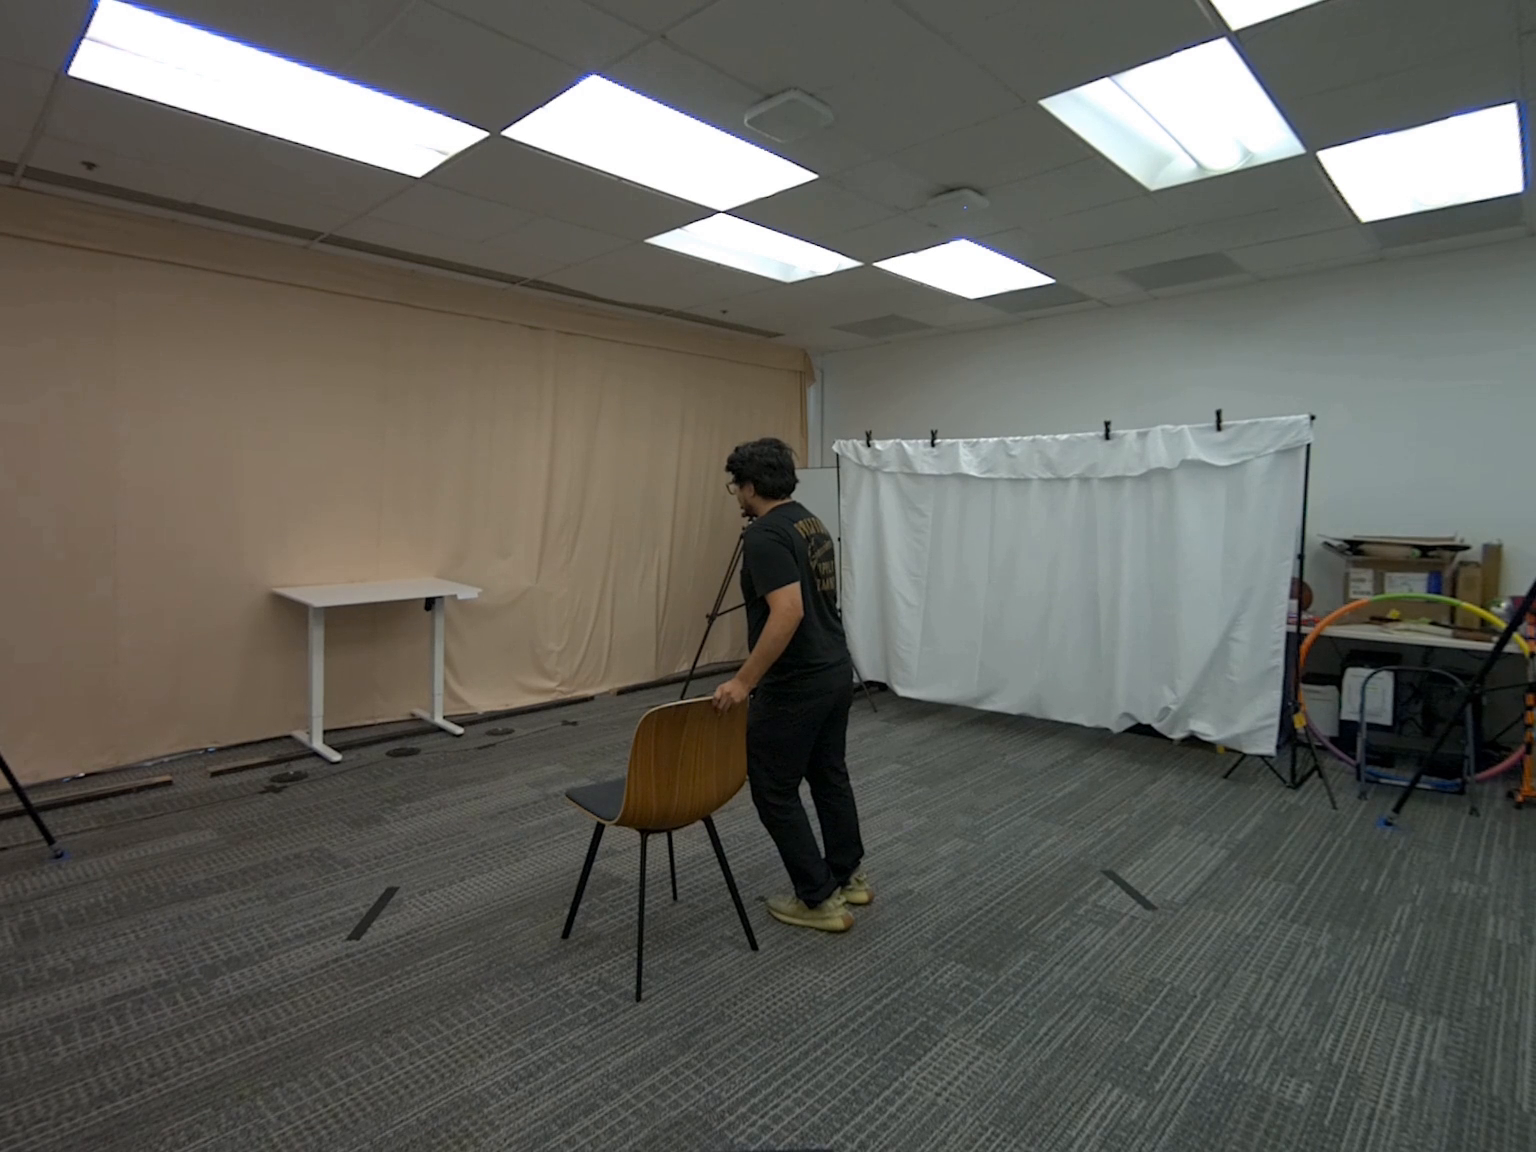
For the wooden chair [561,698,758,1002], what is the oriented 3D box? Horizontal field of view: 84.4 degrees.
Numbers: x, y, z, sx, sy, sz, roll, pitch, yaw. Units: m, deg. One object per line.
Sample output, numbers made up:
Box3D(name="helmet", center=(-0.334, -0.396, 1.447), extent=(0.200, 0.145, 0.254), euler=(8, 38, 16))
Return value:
Box3D(name="wooden chair", center=(-0.355, 0.748, 2.652), extent=(0.463, 0.874, 0.541), euler=(-2, 8, -40))
